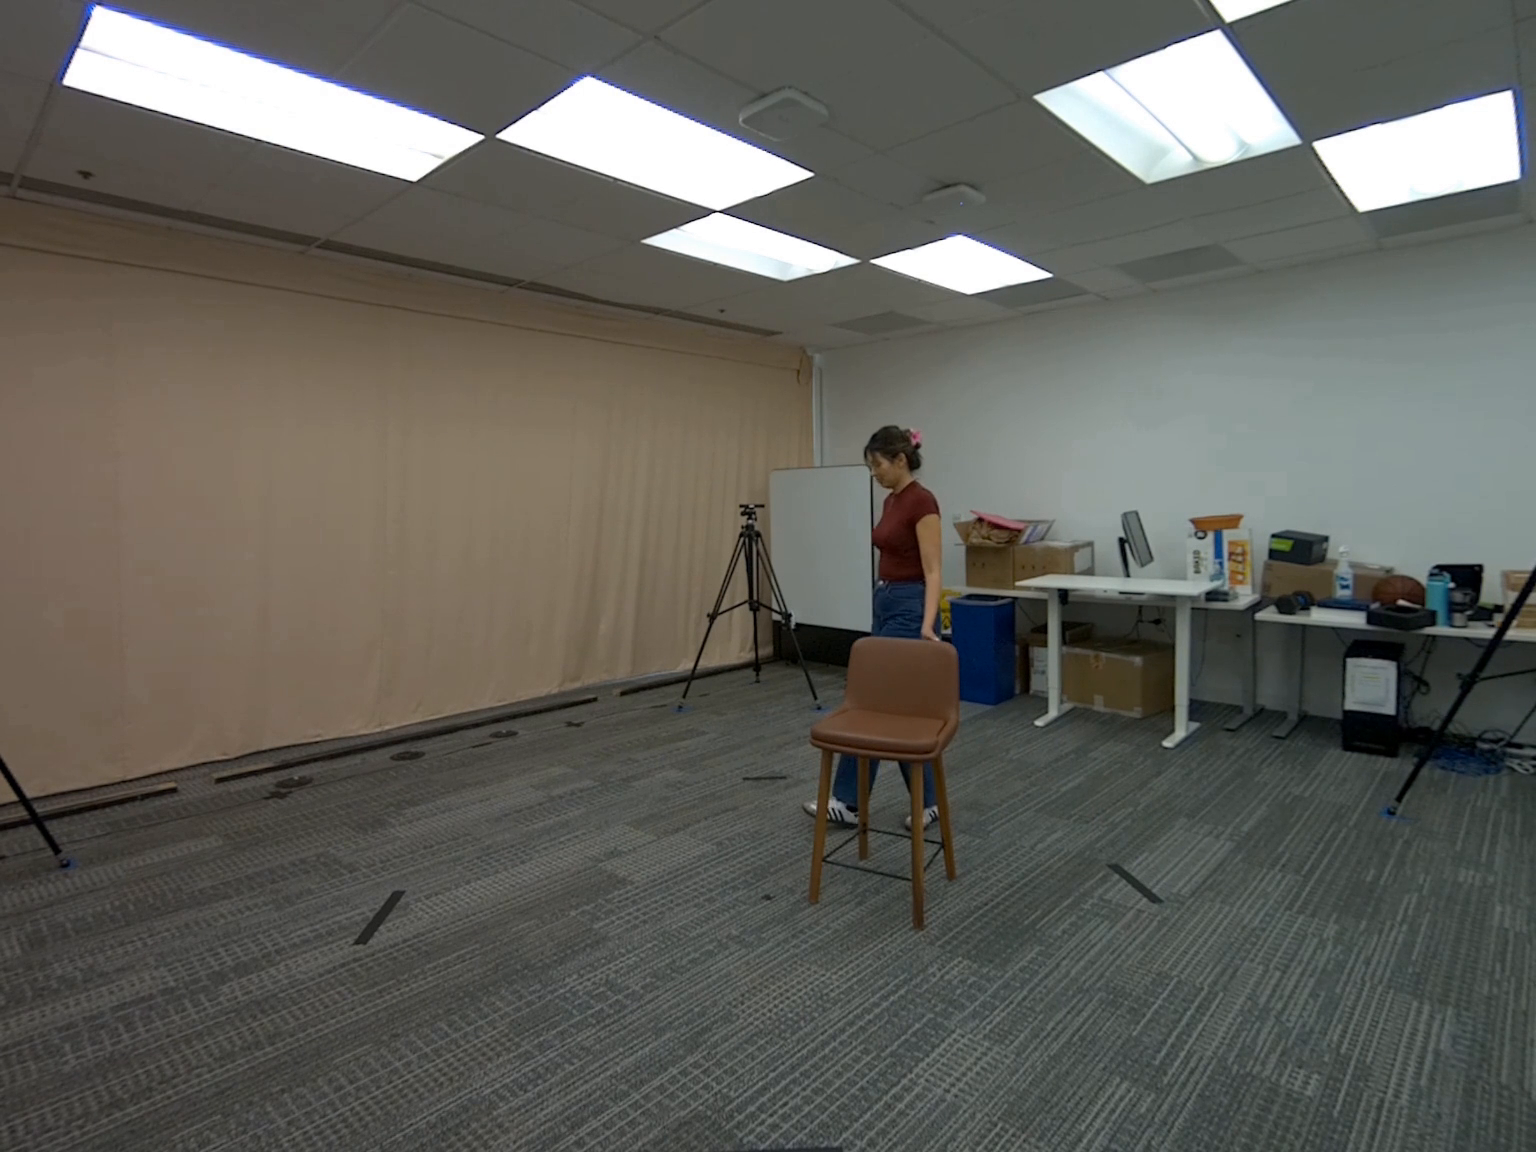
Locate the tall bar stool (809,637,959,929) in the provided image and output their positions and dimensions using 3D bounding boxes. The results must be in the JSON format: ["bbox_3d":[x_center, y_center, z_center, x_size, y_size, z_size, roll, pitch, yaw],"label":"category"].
[{"bbox_3d":[0.428,0.692,3.010,0.470,0.889,0.454,2,2,31],"label":"tall bar stool"}]
